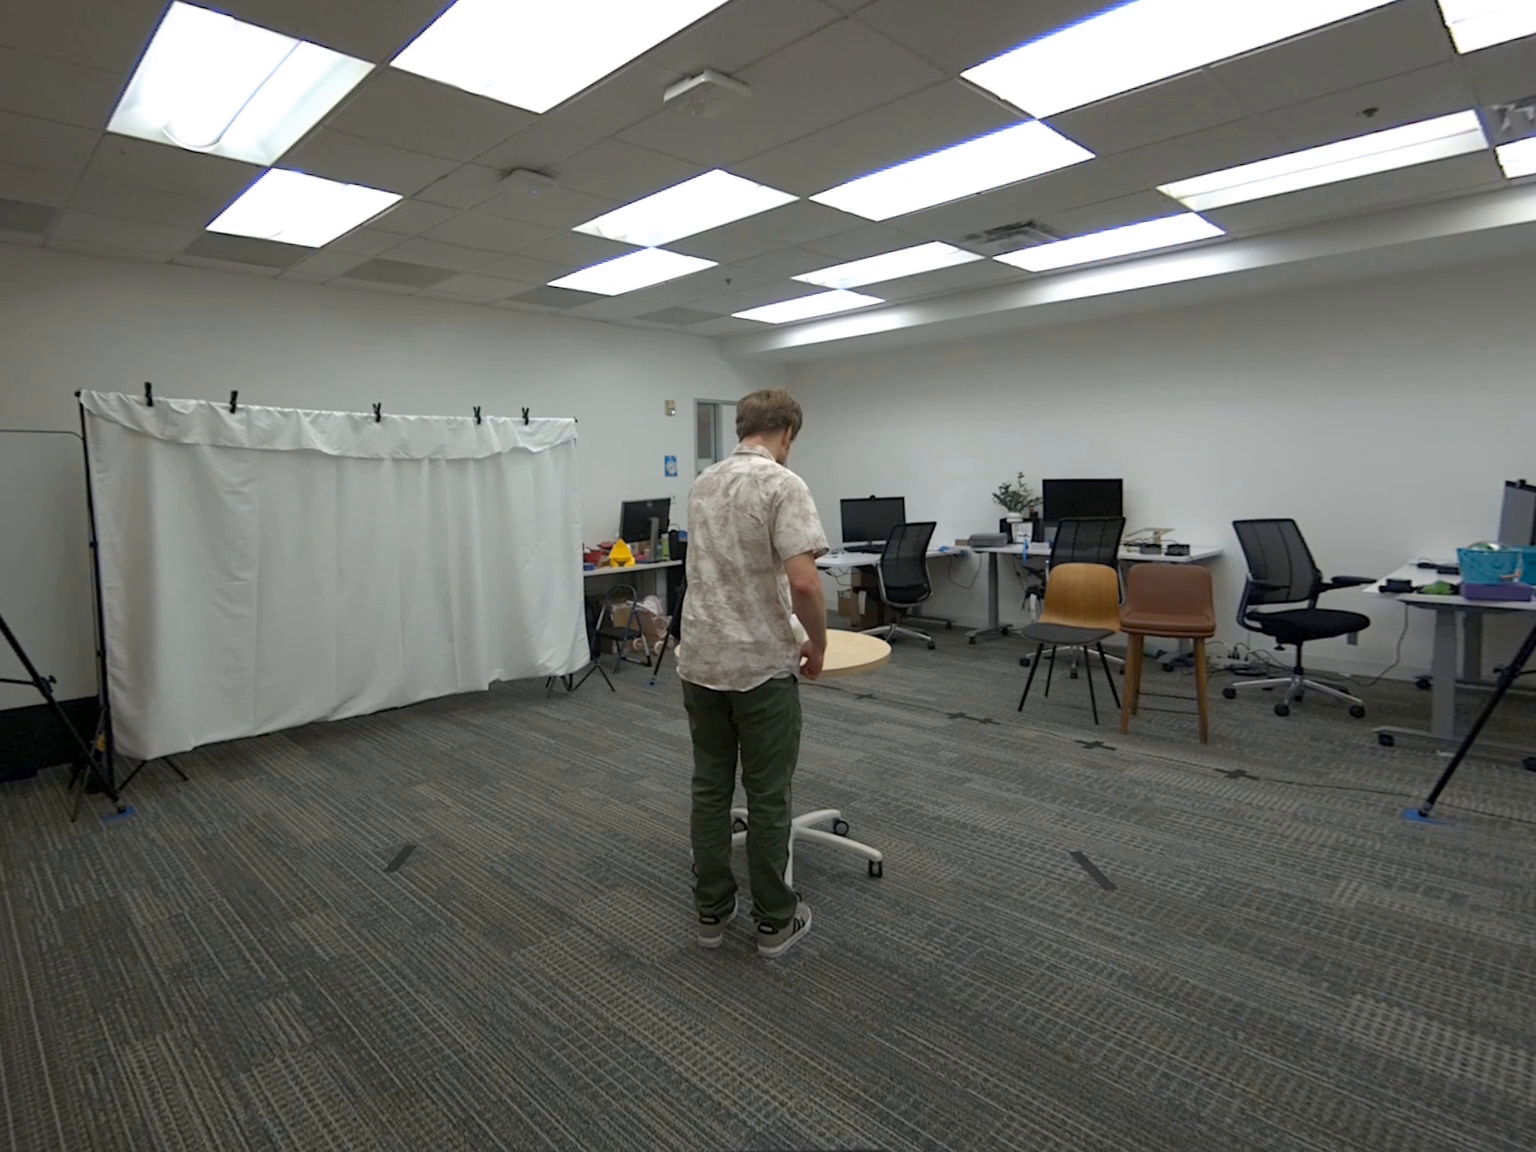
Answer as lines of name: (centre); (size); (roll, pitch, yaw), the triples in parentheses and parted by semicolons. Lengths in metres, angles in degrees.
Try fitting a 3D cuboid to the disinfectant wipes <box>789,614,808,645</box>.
disinfectant wipes: (0.038, 0.195, 3.108); (0.218, 0.117, 0.118); (1, 5, 0)
